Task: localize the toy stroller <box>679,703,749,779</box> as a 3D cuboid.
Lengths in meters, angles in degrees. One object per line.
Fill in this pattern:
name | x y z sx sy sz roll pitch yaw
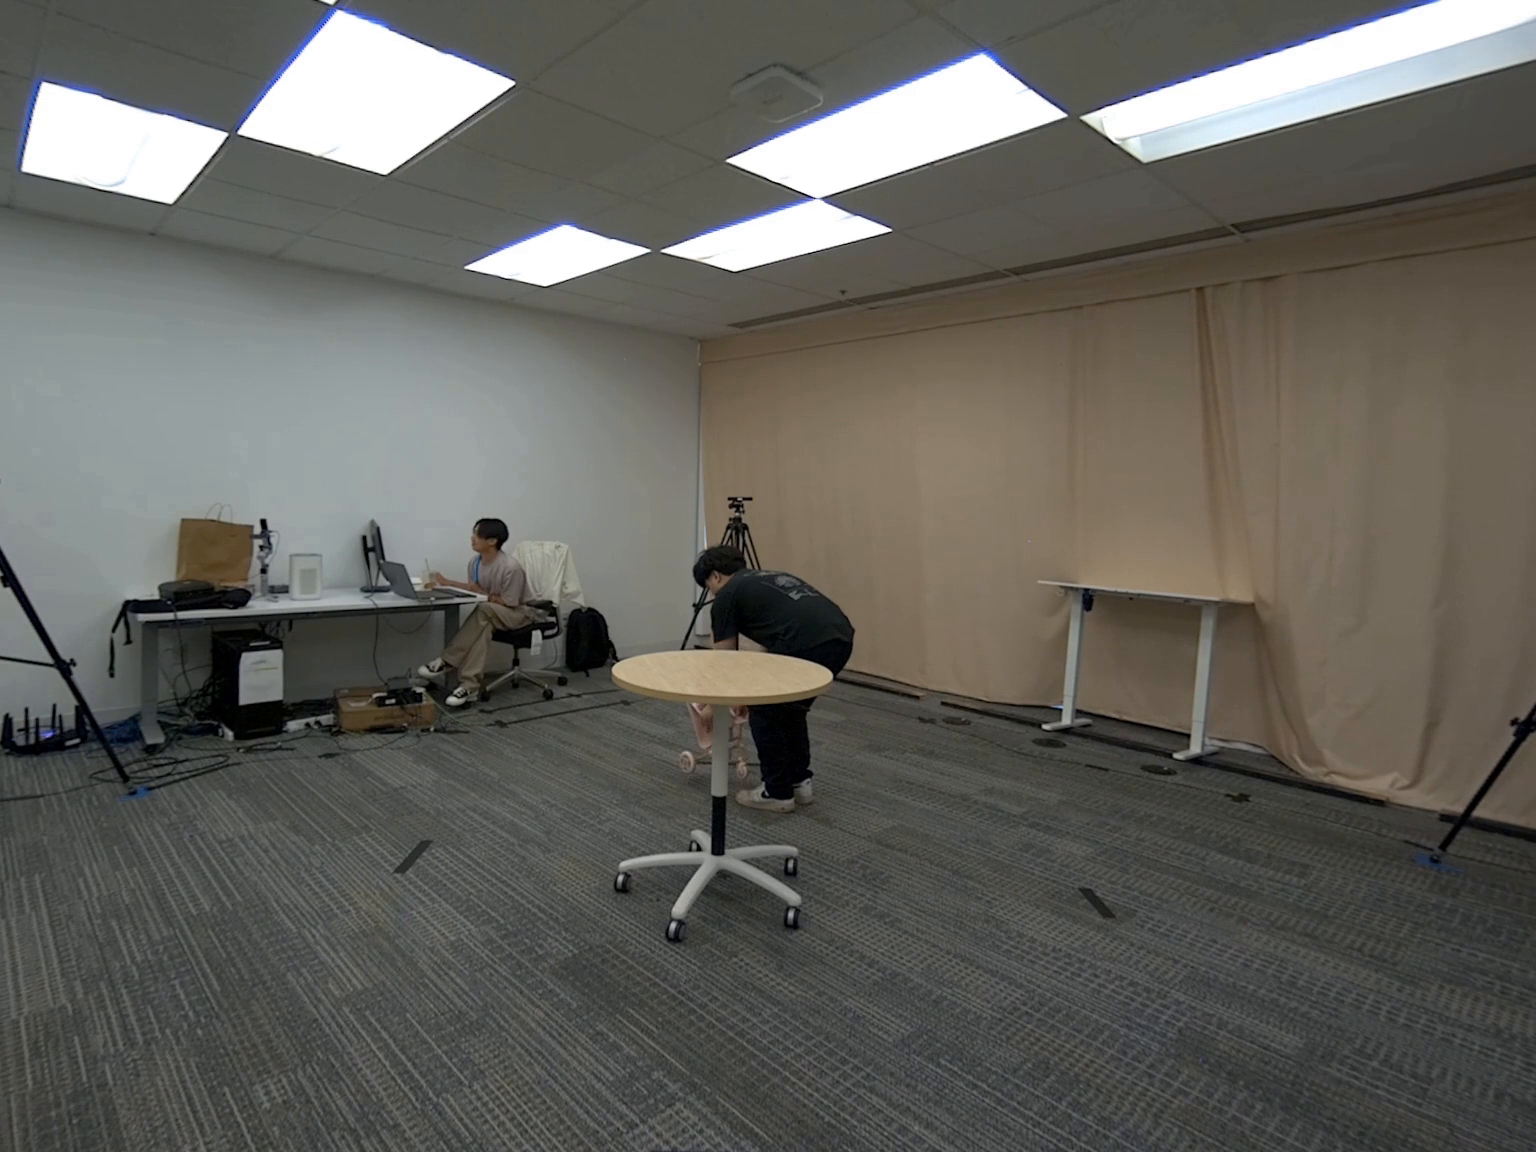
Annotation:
toy stroller | -0.268 0.729 4.152 0.275 0.539 0.346 0 -13 -44
